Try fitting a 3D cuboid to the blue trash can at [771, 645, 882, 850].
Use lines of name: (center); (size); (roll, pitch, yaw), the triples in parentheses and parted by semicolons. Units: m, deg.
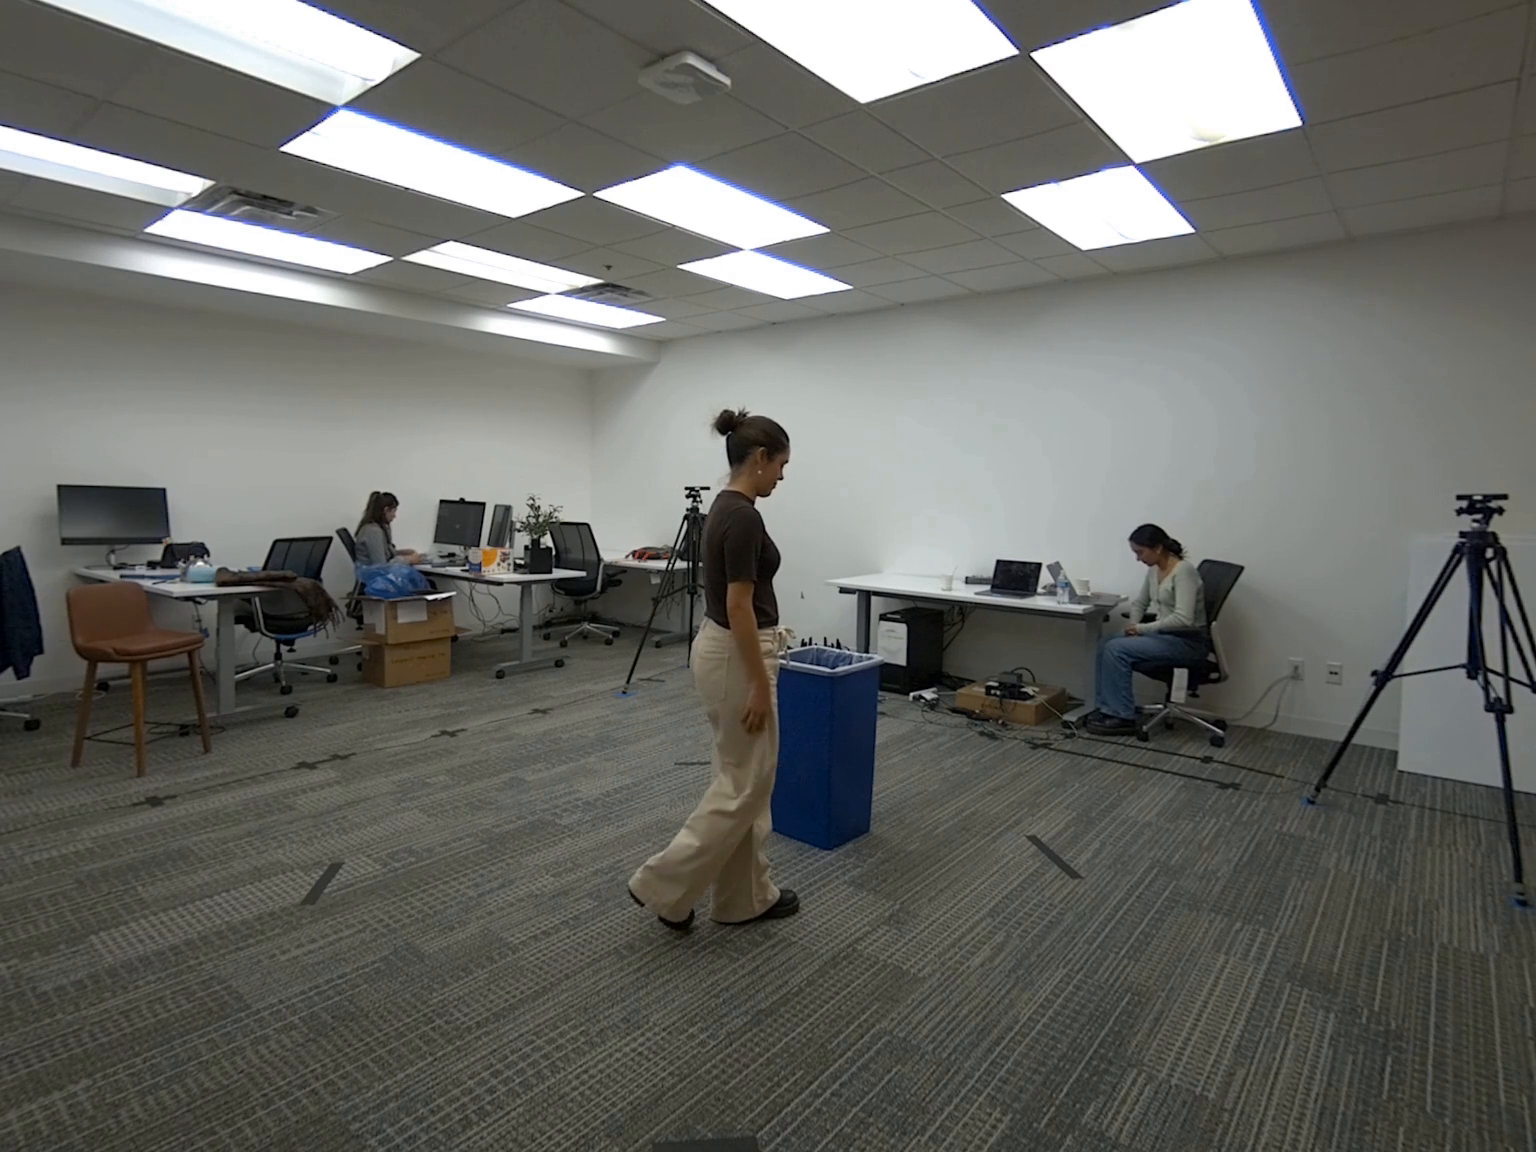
blue trash can: (0.206, 0.678, 3.464); (0.387, 0.711, 0.367); (4, 5, 42)
